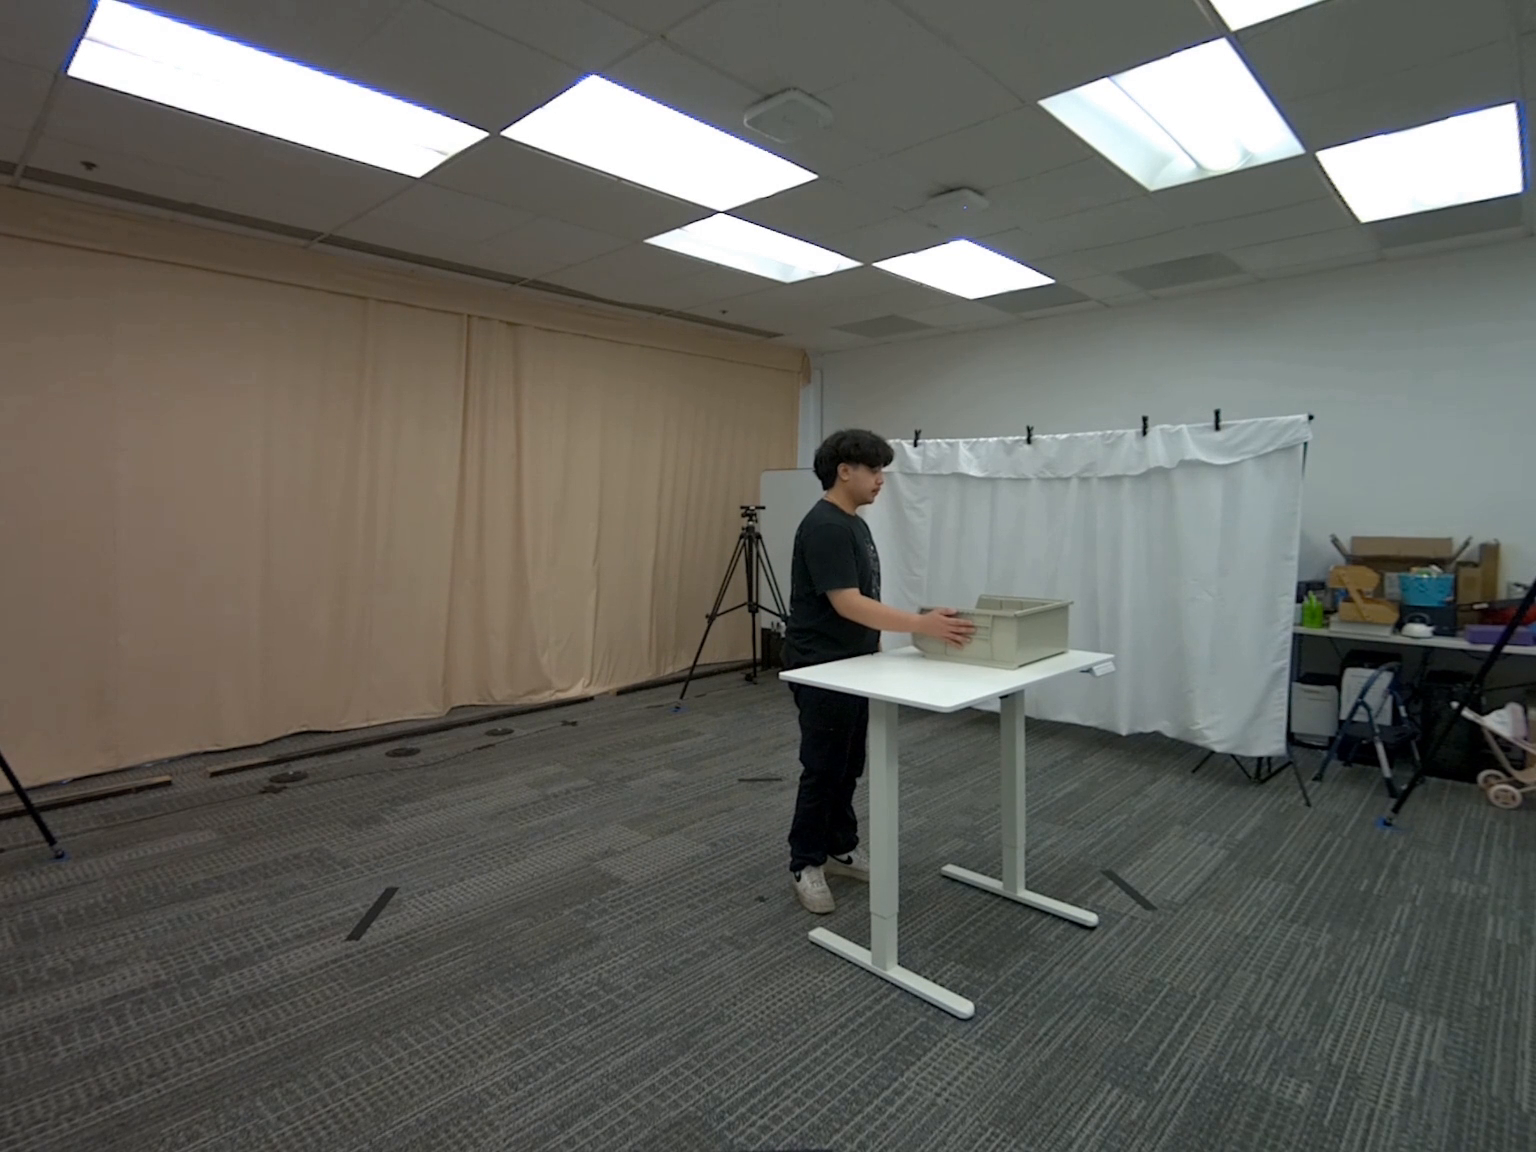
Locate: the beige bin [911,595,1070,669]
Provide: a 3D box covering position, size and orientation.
[{"bbox_3d":[0.770,0.185,2.845,0.390,0.188,0.409,4,6,43],"label":"beige bin"}]
